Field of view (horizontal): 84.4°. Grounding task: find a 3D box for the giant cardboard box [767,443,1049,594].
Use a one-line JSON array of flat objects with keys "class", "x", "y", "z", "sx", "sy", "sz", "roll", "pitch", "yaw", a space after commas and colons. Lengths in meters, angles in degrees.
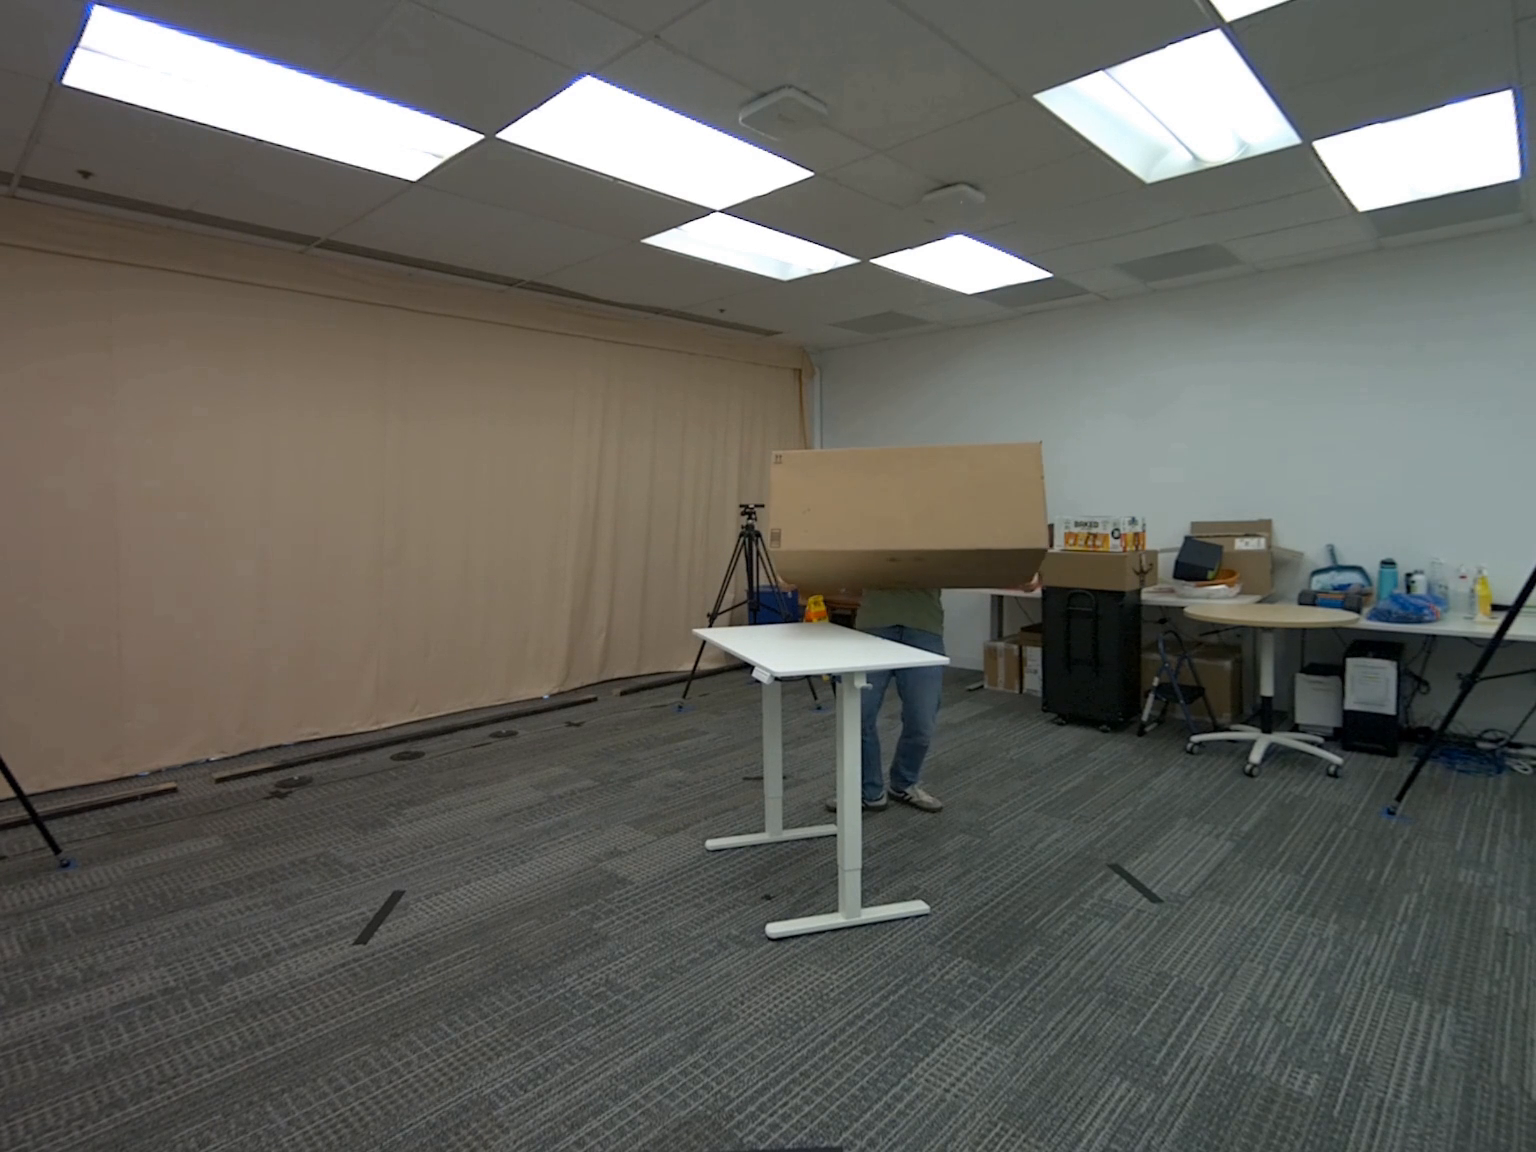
[{"class": "giant cardboard box", "x": 0.554, "y": -0.226, "z": 3.448, "sx": 1.040, "sy": 0.430, "sz": 0.564, "roll": 0, "pitch": -17, "yaw": 12}]
